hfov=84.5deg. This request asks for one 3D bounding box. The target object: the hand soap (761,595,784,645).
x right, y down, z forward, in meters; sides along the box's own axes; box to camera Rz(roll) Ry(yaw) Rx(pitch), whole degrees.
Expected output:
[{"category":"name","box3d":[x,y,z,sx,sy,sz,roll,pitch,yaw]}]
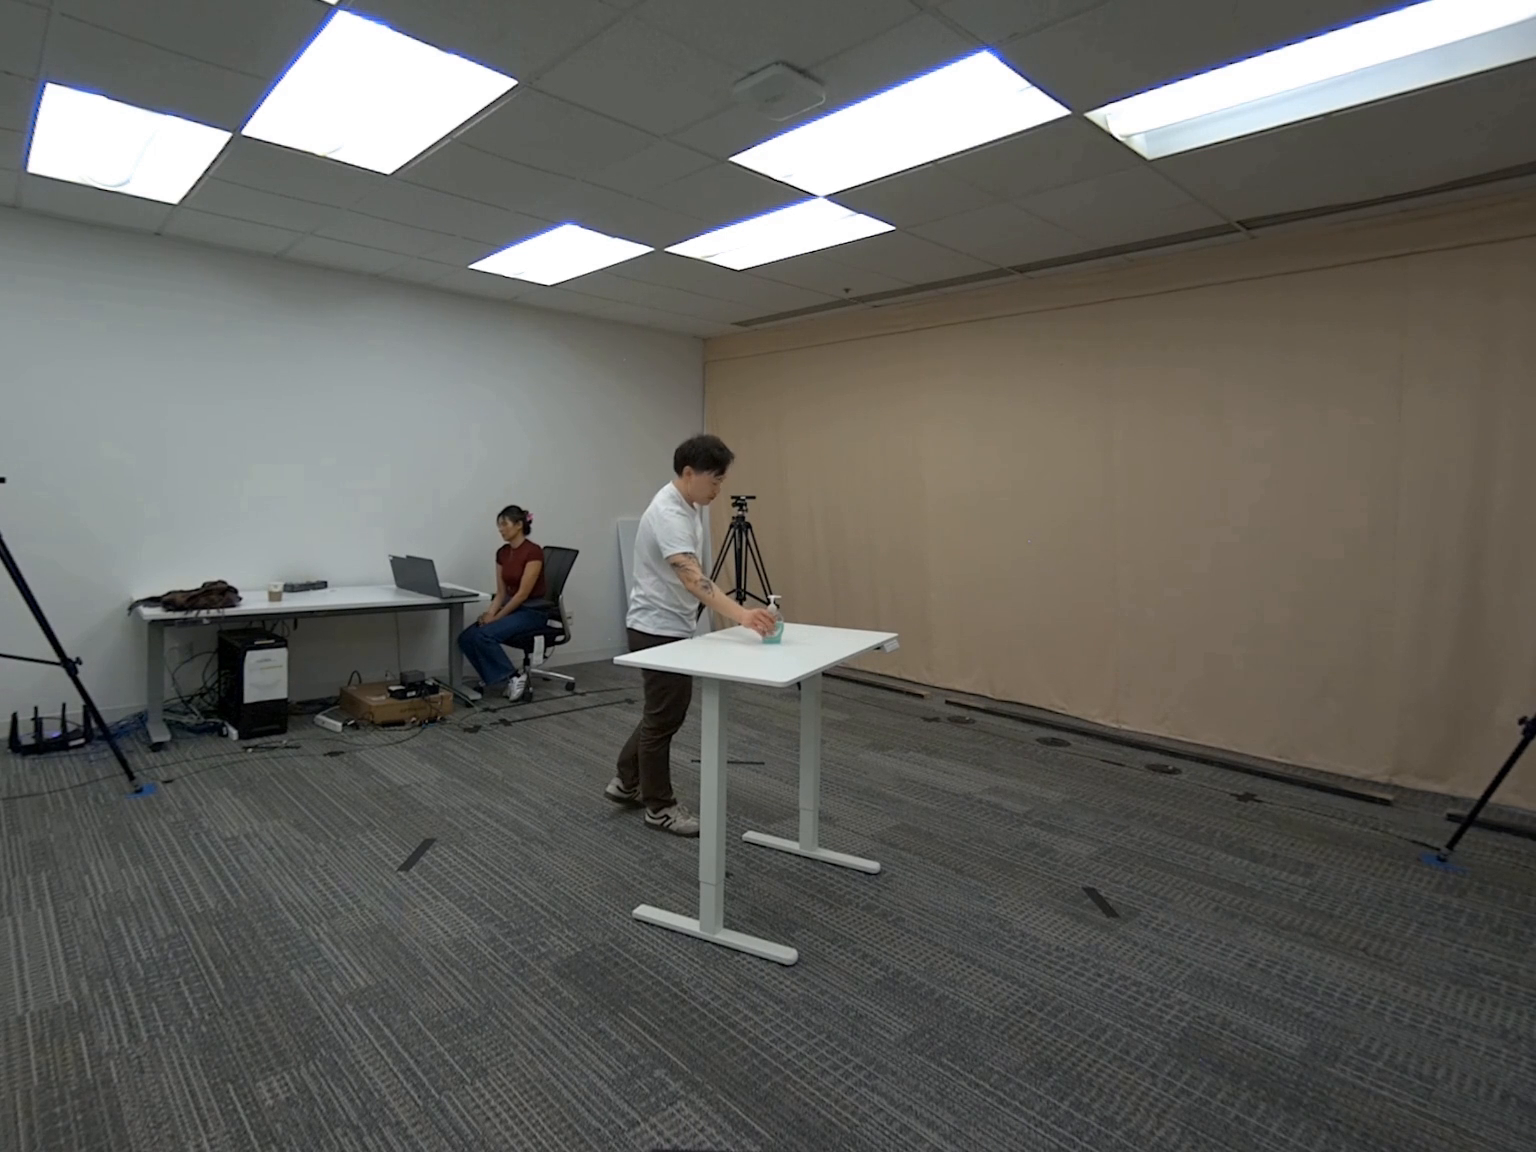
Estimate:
[{"category":"hand soap","box3d":[-0.001,0.155,2.962,0.084,0.167,0.043,-1,4,0]}]
